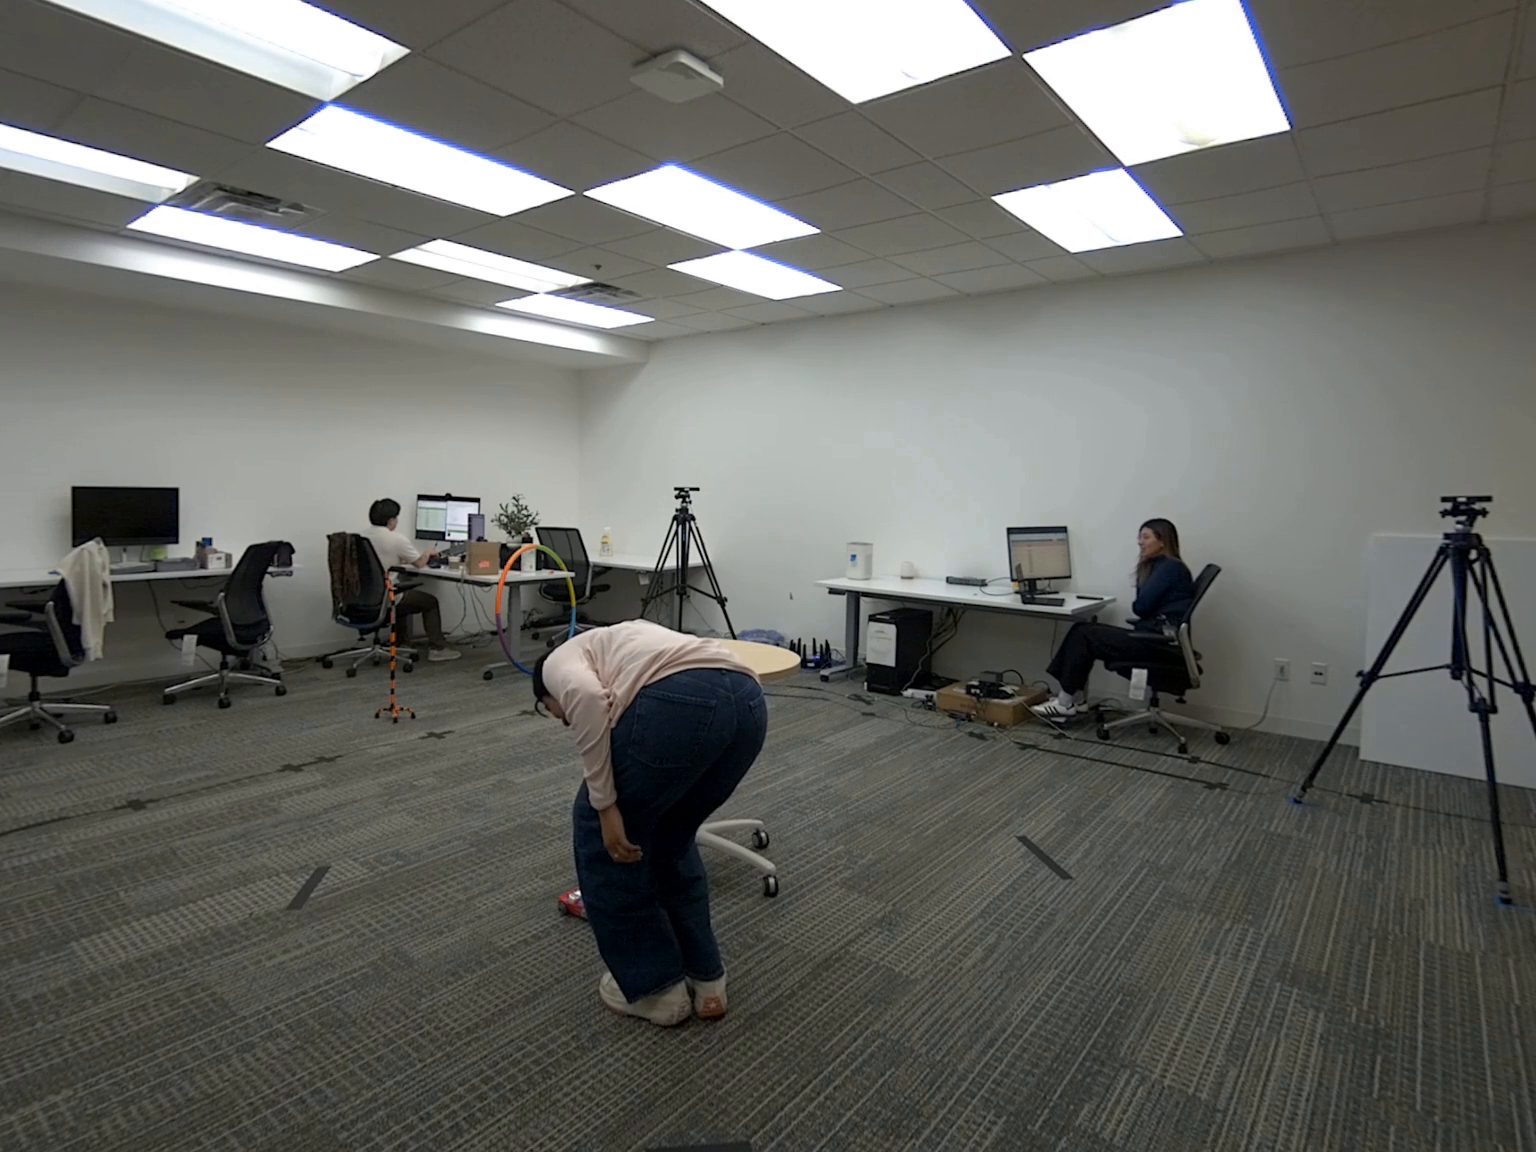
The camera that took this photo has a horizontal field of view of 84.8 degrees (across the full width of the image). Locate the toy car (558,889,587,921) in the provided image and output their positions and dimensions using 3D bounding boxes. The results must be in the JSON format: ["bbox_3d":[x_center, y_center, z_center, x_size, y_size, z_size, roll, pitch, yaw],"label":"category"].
[{"bbox_3d":[-0.565,1.065,2.734,0.261,0.083,0.126,-8,-1,35],"label":"toy car"}]
